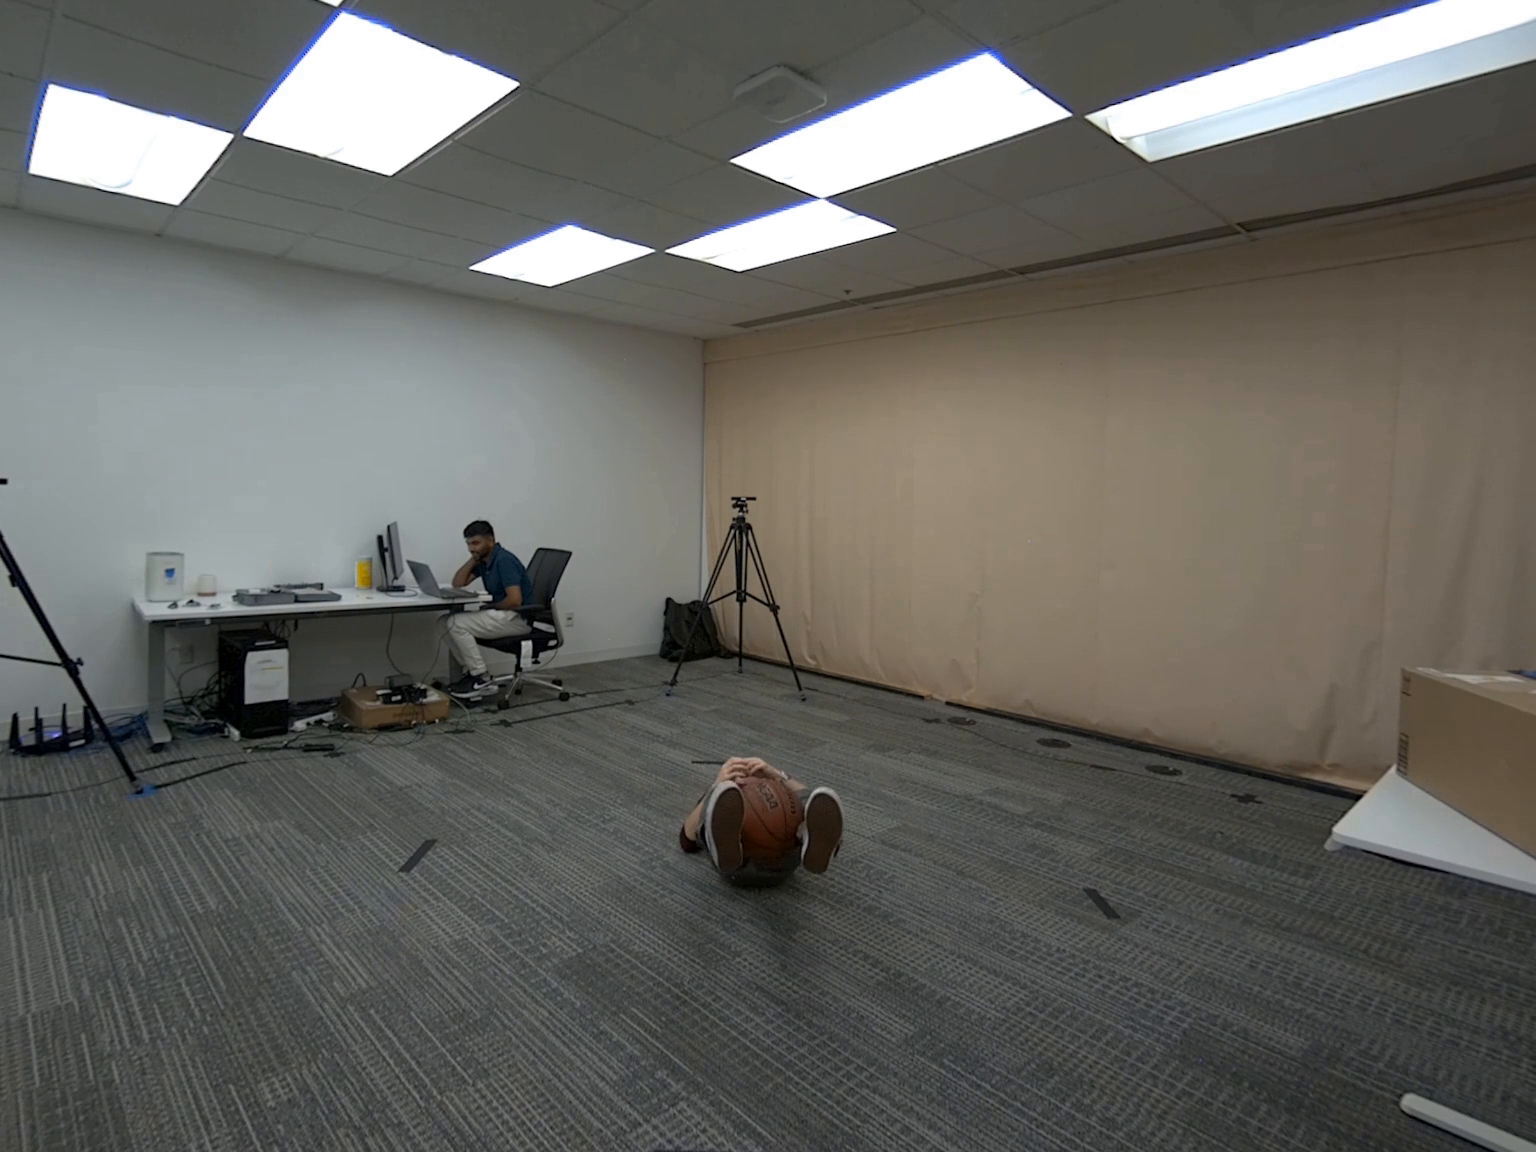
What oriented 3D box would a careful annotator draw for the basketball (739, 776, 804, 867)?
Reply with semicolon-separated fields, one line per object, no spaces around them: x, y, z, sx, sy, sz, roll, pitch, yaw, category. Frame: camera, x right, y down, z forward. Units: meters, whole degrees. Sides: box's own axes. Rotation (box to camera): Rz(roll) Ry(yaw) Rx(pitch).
-0.015;0.737;2.544;0.236;0.235;0.237;1;4;-1;basketball
